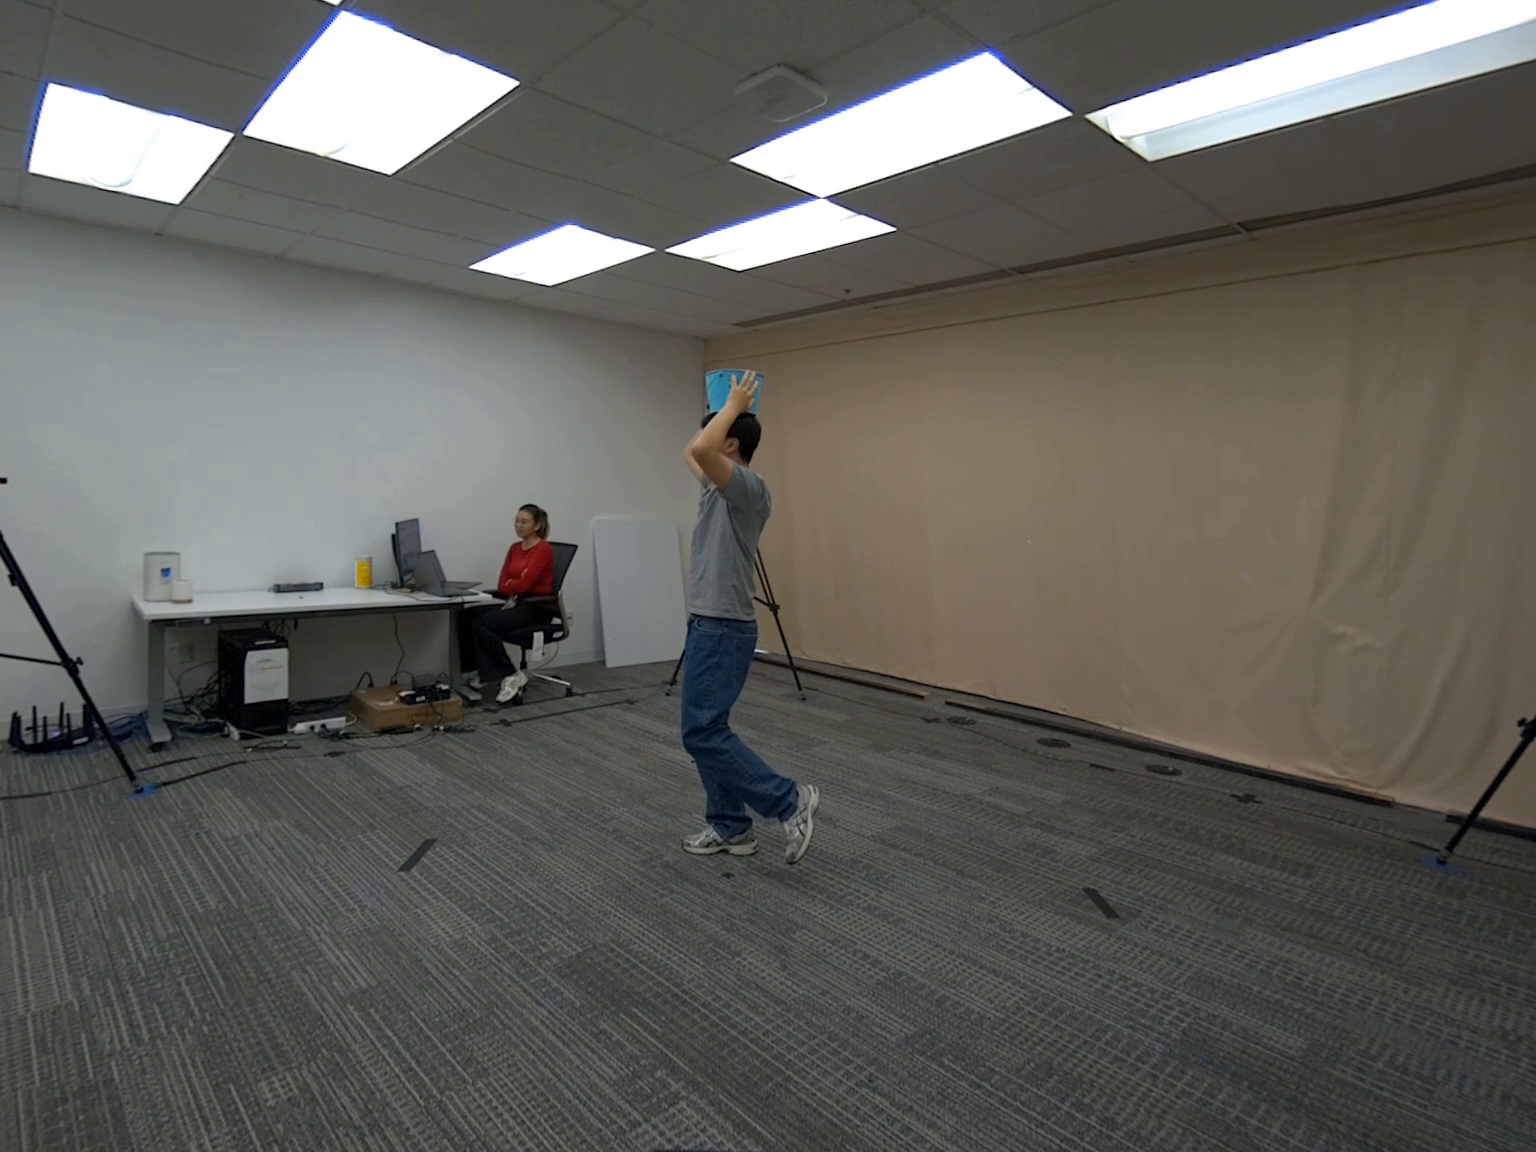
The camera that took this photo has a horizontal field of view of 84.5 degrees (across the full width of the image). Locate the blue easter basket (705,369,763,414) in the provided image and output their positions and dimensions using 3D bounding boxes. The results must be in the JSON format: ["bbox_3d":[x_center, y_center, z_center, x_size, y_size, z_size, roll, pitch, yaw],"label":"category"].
[{"bbox_3d":[-0.139,-0.703,3.280,0.243,0.156,0.244,3,2,-1],"label":"blue easter basket"}]
